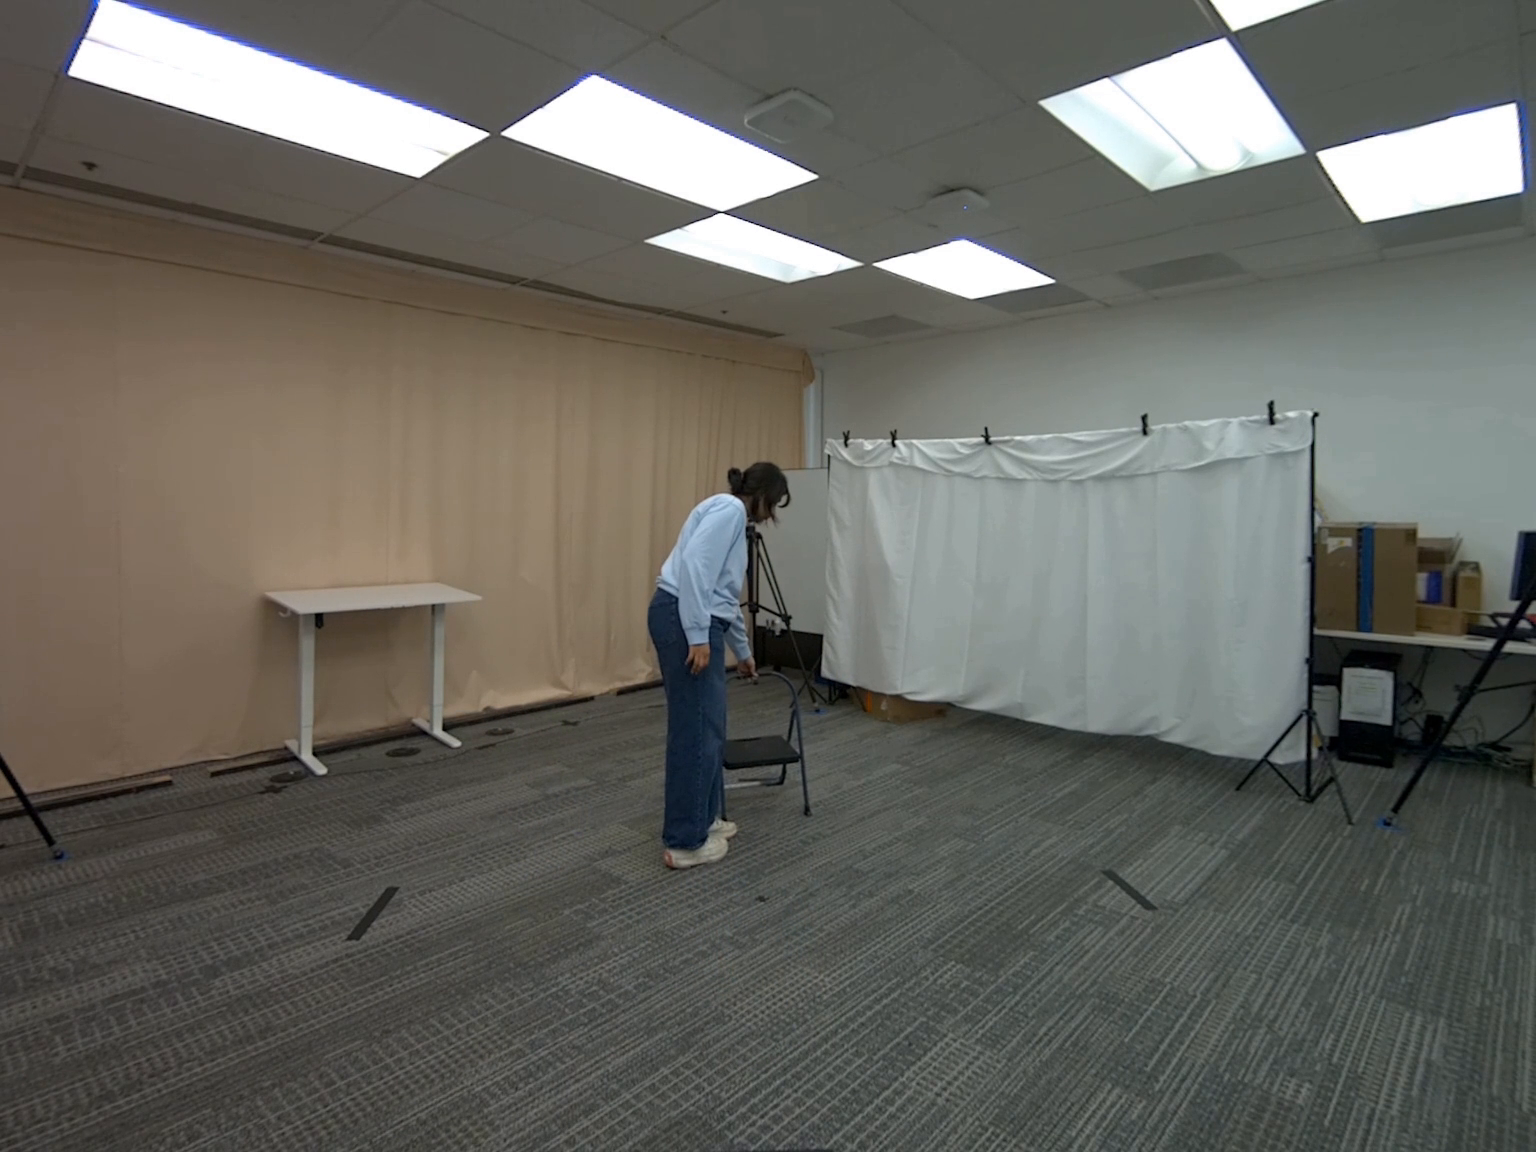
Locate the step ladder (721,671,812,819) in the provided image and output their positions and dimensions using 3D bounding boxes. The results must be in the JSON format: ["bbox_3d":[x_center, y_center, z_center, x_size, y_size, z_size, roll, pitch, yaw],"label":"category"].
[{"bbox_3d":[-0.045,0.753,3.837,0.422,0.602,0.358,-1,10,-19],"label":"step ladder"}]
